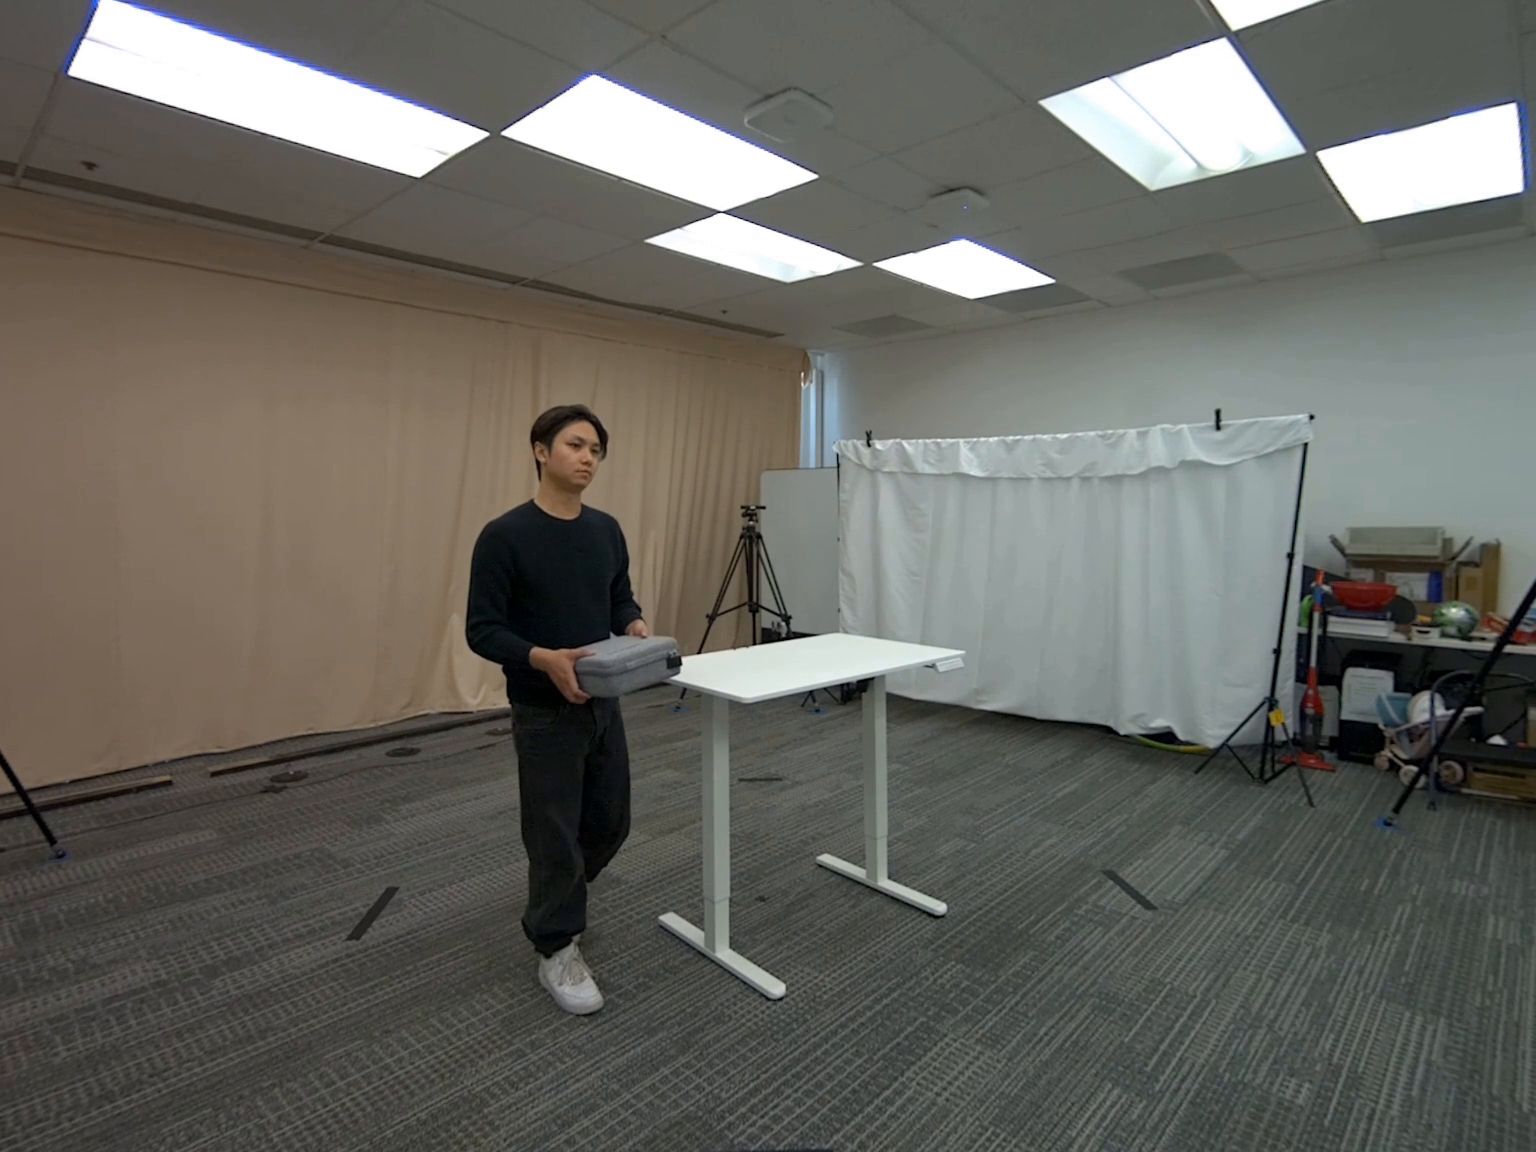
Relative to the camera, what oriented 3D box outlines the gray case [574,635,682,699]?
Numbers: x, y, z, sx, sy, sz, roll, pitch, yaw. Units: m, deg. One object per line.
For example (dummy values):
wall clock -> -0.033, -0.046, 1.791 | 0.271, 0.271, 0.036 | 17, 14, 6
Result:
gray case -> -0.397, 0.231, 2.193 | 0.269, 0.104, 0.250 | -2, 10, 43
